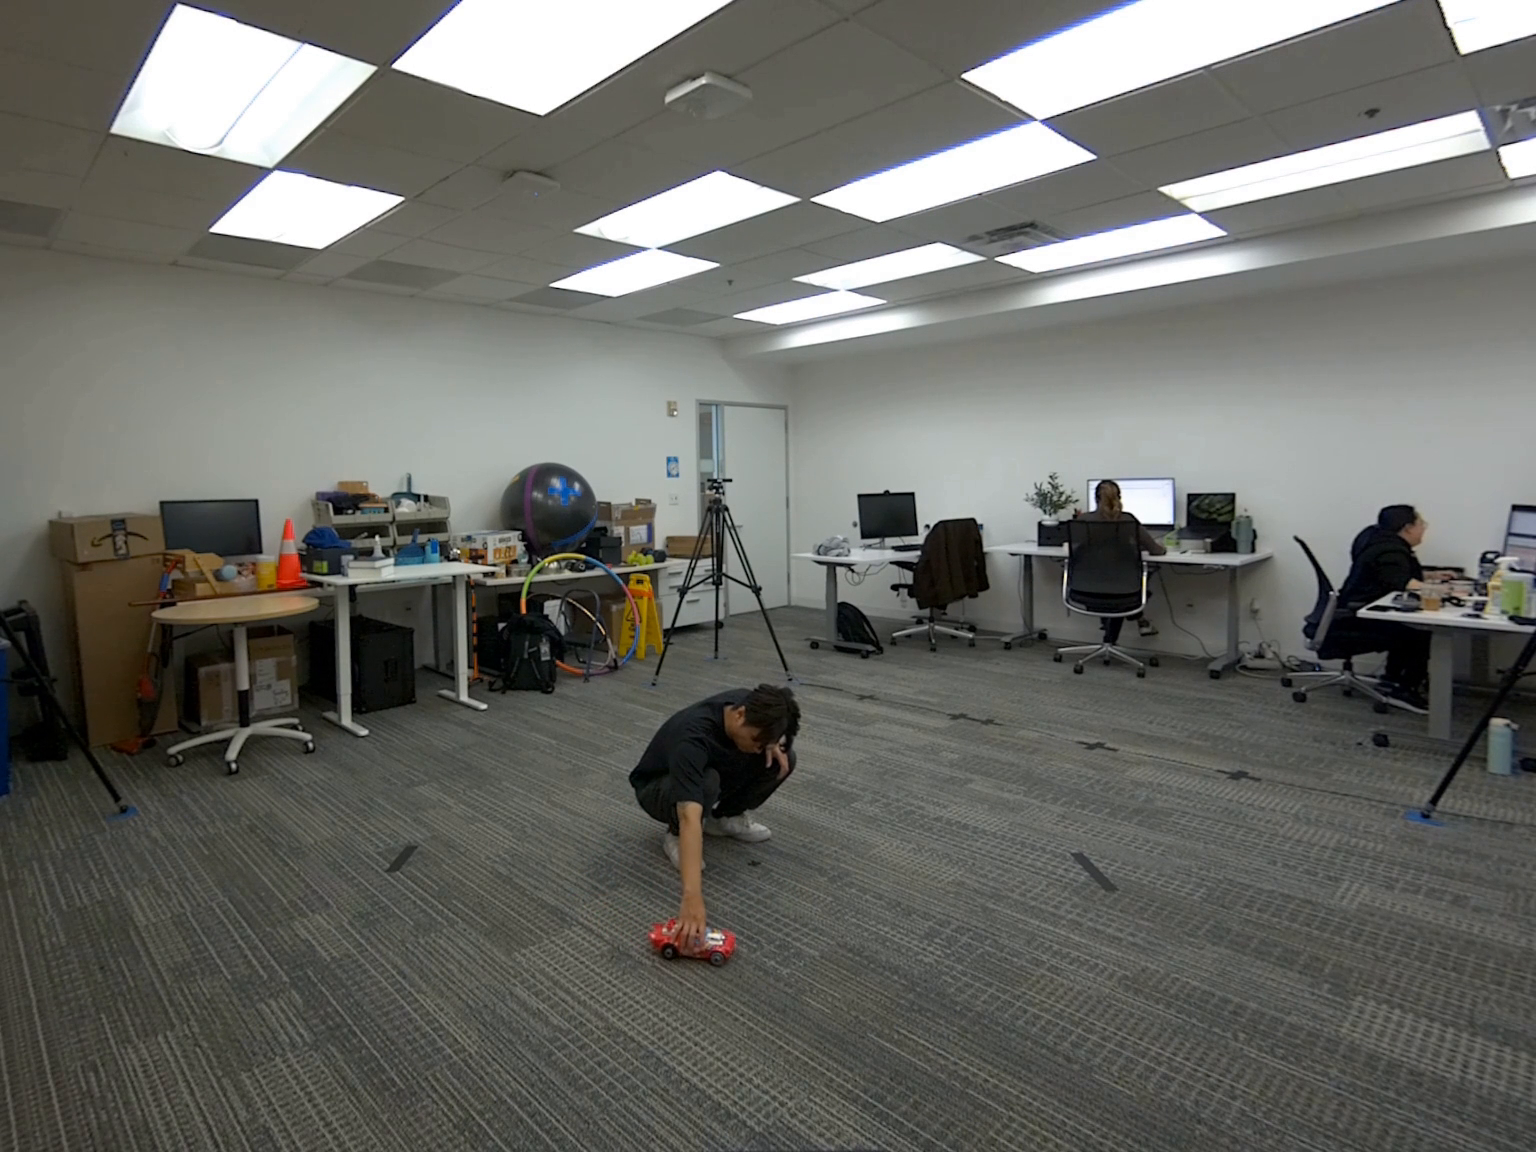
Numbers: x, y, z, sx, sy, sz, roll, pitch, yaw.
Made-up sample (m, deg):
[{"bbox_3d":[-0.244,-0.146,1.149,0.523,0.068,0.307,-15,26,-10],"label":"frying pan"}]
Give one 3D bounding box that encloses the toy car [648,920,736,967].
[{"bbox_3d":[-0.227,1.090,2.534,0.258,0.083,0.129,10,7,12],"label":"toy car"}]
